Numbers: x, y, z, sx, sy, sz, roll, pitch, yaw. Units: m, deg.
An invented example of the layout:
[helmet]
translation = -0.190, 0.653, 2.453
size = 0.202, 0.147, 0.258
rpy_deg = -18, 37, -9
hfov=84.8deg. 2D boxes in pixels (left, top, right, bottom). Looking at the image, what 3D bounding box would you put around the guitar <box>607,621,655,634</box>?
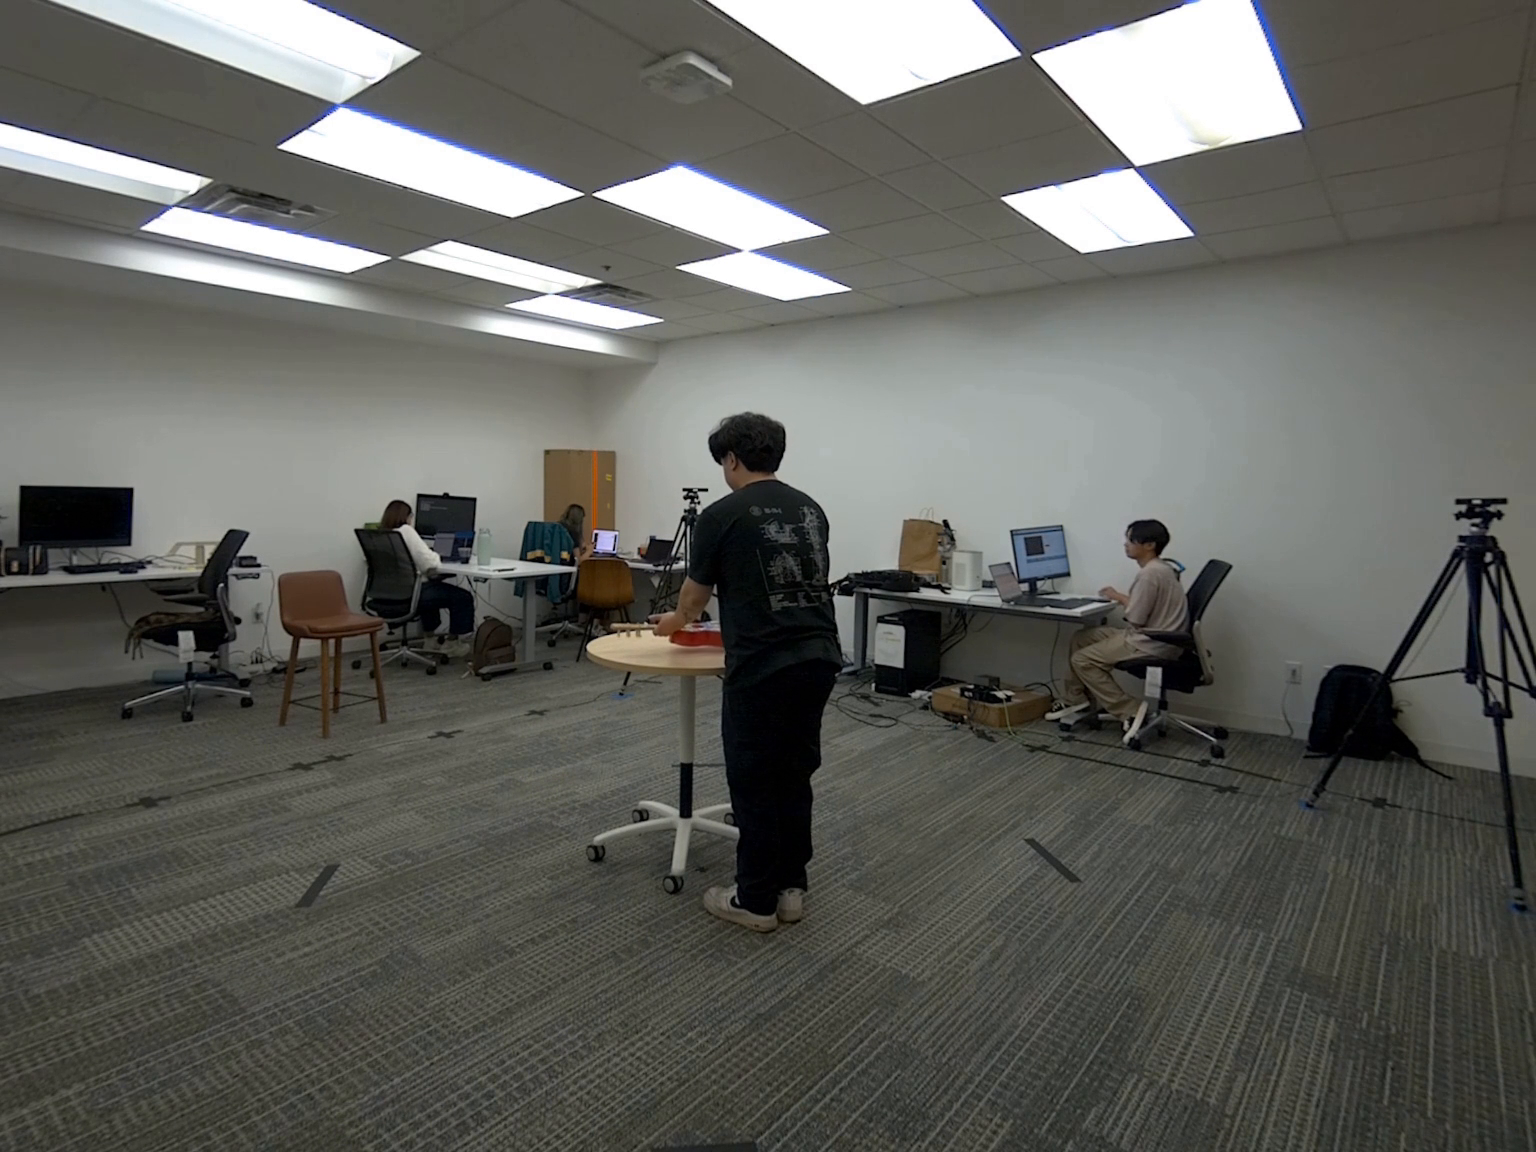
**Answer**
[guitar]
translation = -0.315, 0.198, 3.159
size = 0.491, 0.070, 0.197
rpy_deg = 2, 9, -12
